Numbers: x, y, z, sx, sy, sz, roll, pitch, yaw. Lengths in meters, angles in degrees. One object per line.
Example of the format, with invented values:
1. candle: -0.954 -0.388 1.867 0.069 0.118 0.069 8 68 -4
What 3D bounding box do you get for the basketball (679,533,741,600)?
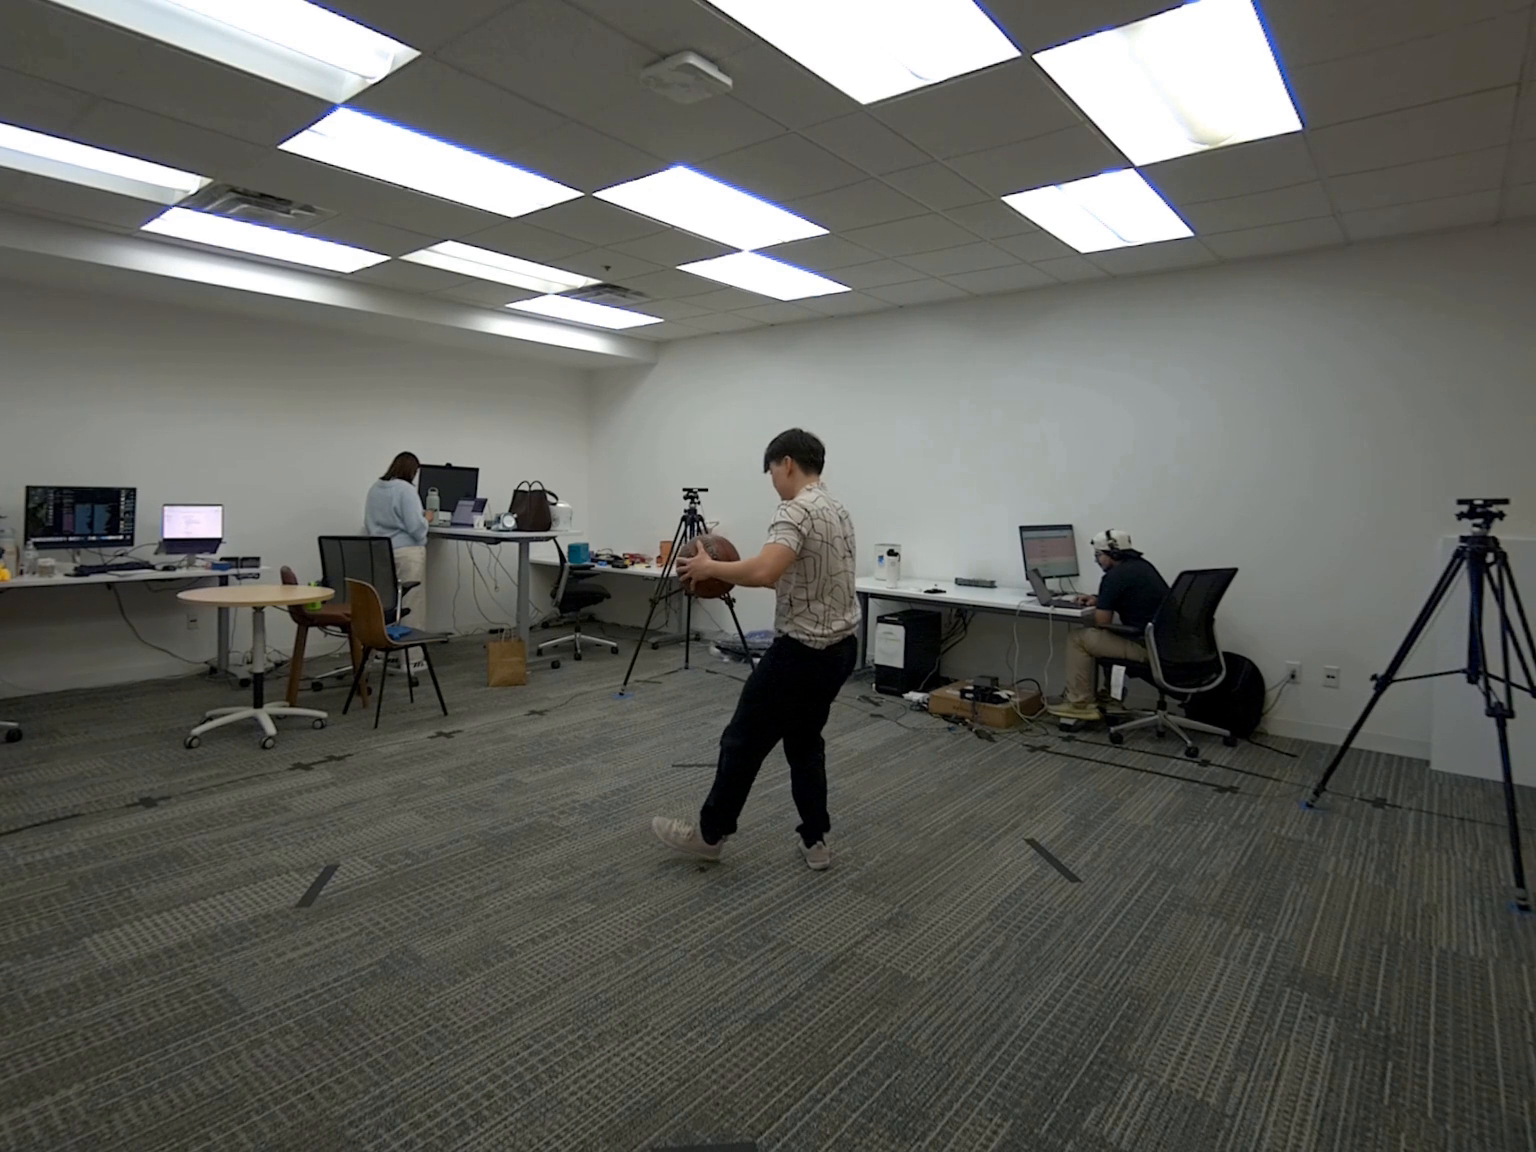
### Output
1. basketball: -0.220 -0.025 3.132 0.235 0.235 0.237 1 4 -2
